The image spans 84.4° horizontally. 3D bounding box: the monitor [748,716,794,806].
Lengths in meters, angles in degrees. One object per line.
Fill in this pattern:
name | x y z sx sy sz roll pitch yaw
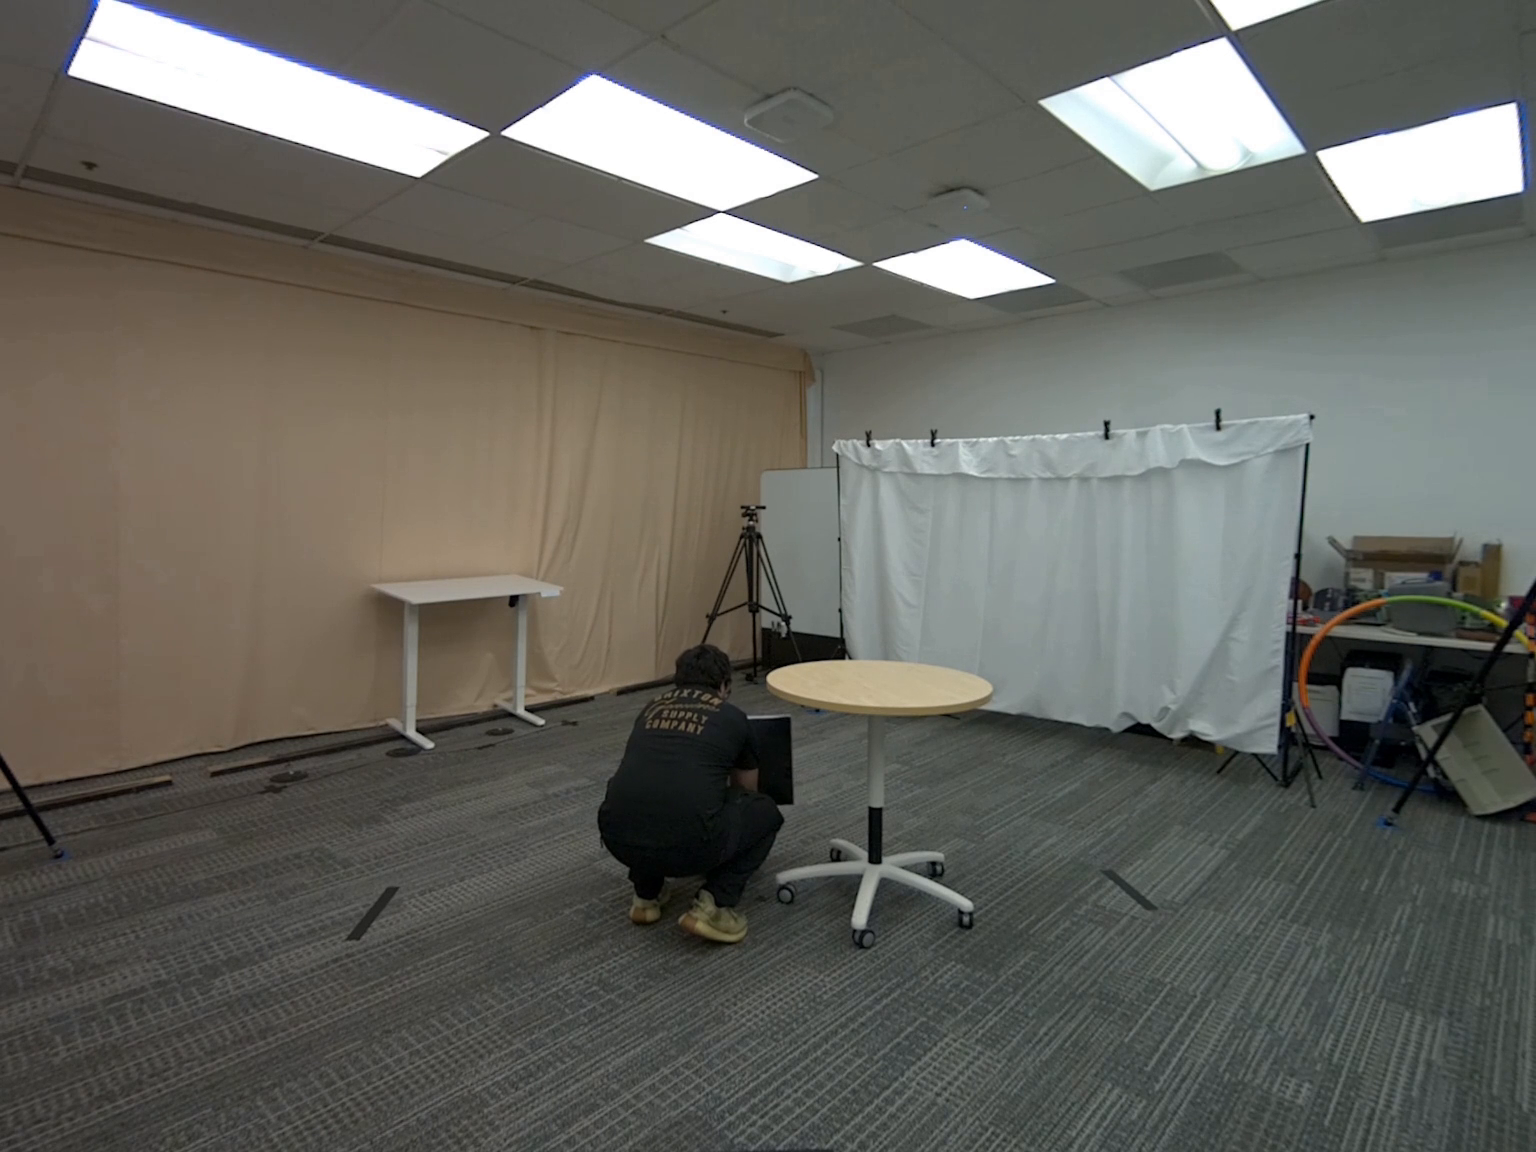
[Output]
monitor | -0.174 0.818 3.231 0.566 0.553 0.210 -1 1 1
